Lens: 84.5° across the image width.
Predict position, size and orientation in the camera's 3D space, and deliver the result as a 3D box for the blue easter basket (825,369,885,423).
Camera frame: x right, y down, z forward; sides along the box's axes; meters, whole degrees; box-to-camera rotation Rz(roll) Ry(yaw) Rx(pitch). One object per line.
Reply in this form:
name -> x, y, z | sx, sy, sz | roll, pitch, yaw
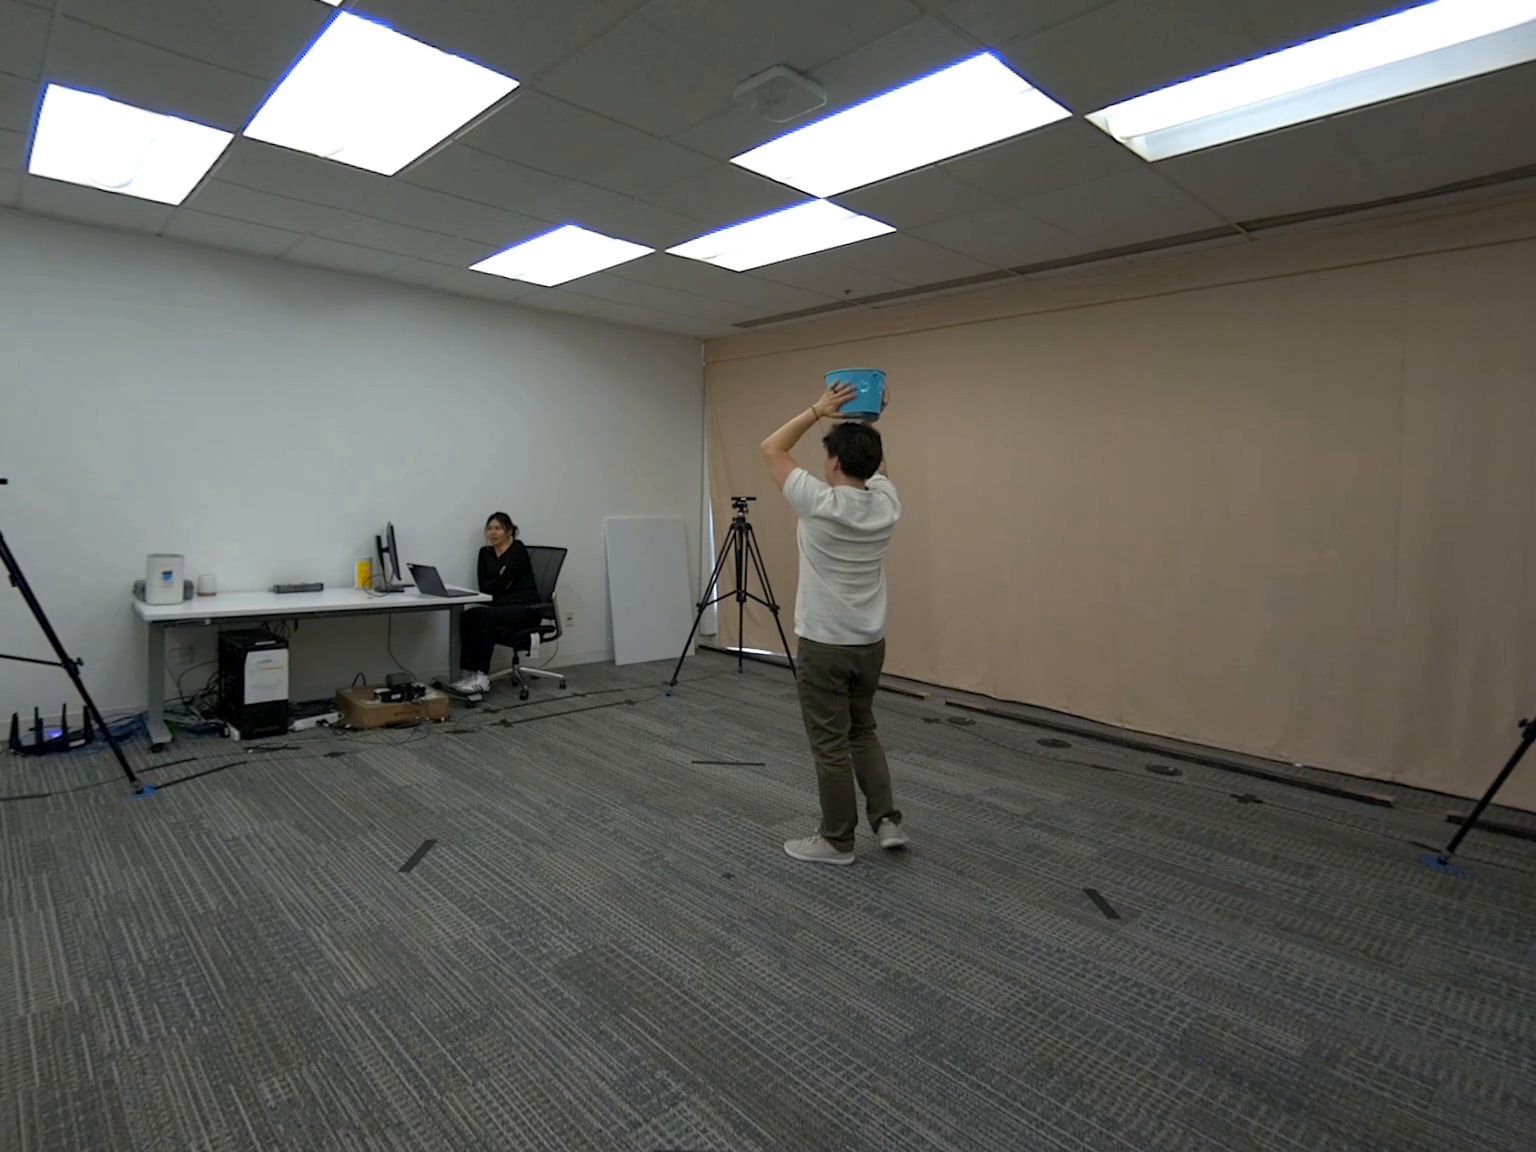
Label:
blue easter basket -> 0.339, -0.676, 3.171 | 0.243, 0.156, 0.244 | 1, 2, -1
